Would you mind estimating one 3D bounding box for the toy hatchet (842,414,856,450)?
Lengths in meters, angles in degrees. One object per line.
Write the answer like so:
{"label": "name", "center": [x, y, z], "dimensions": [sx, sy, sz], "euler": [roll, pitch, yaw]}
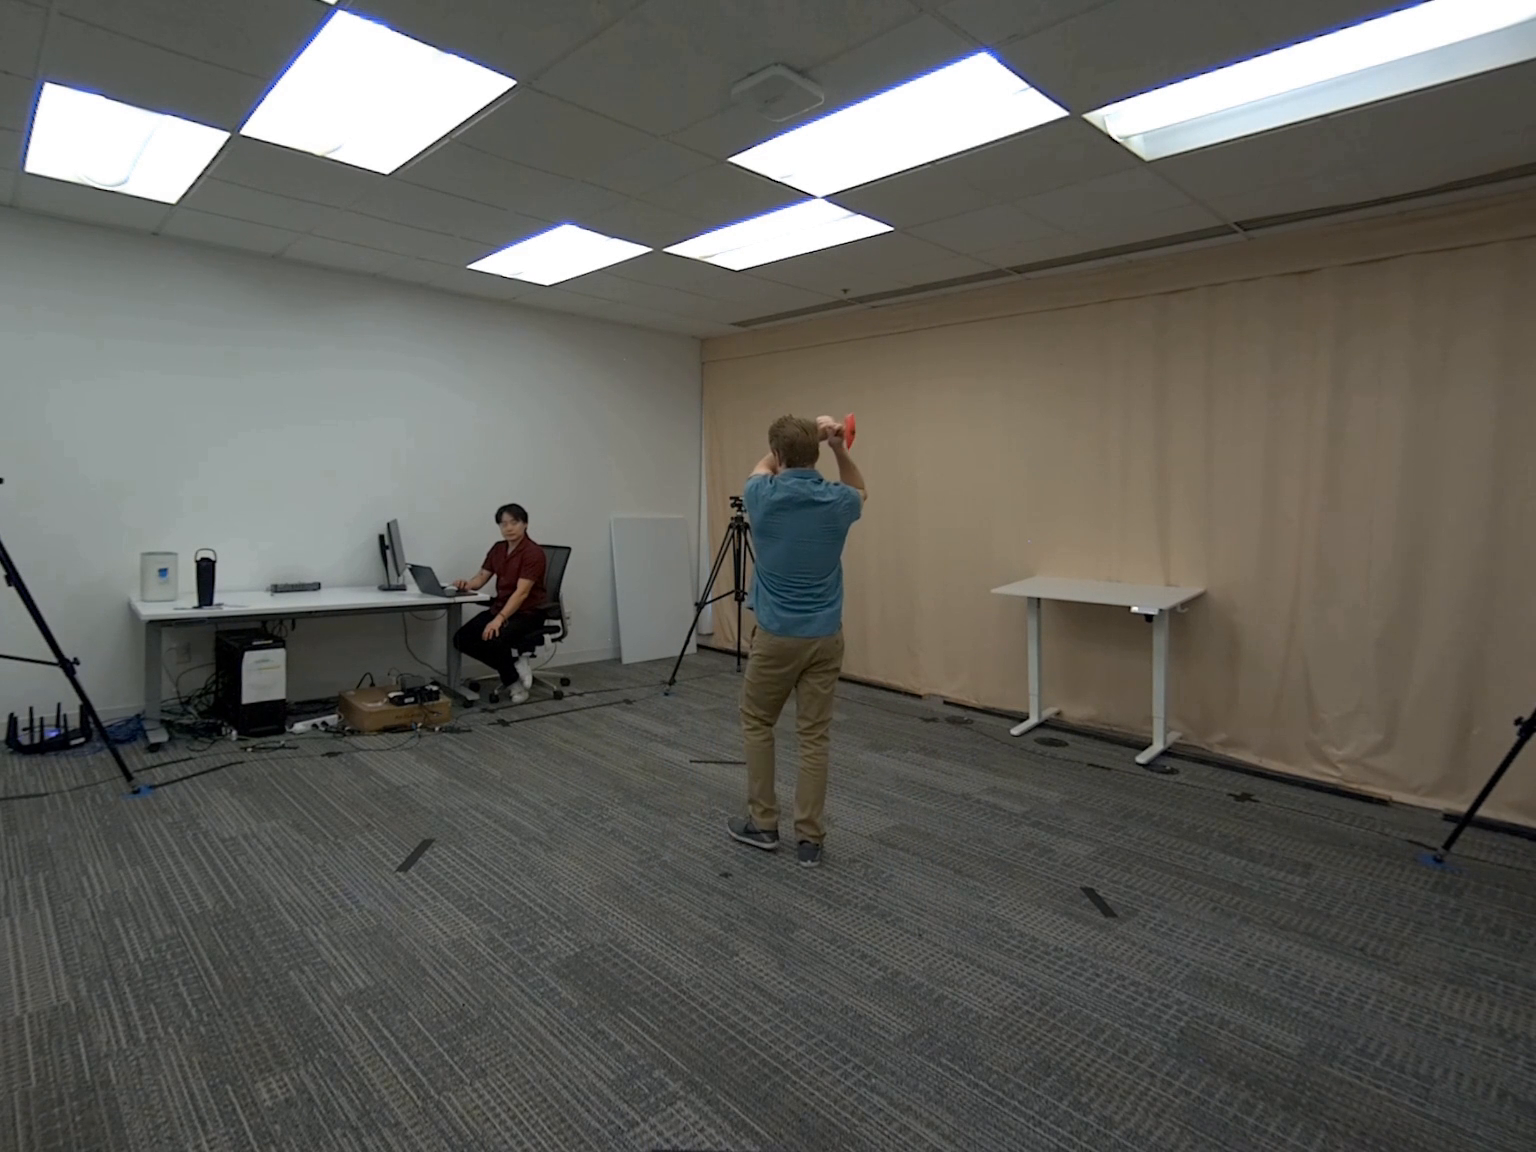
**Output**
{"label": "toy hatchet", "center": [0.257, -0.583, 3.246], "dimensions": [0.029, 0.129, 0.277], "euler": [5, 24, -20]}
